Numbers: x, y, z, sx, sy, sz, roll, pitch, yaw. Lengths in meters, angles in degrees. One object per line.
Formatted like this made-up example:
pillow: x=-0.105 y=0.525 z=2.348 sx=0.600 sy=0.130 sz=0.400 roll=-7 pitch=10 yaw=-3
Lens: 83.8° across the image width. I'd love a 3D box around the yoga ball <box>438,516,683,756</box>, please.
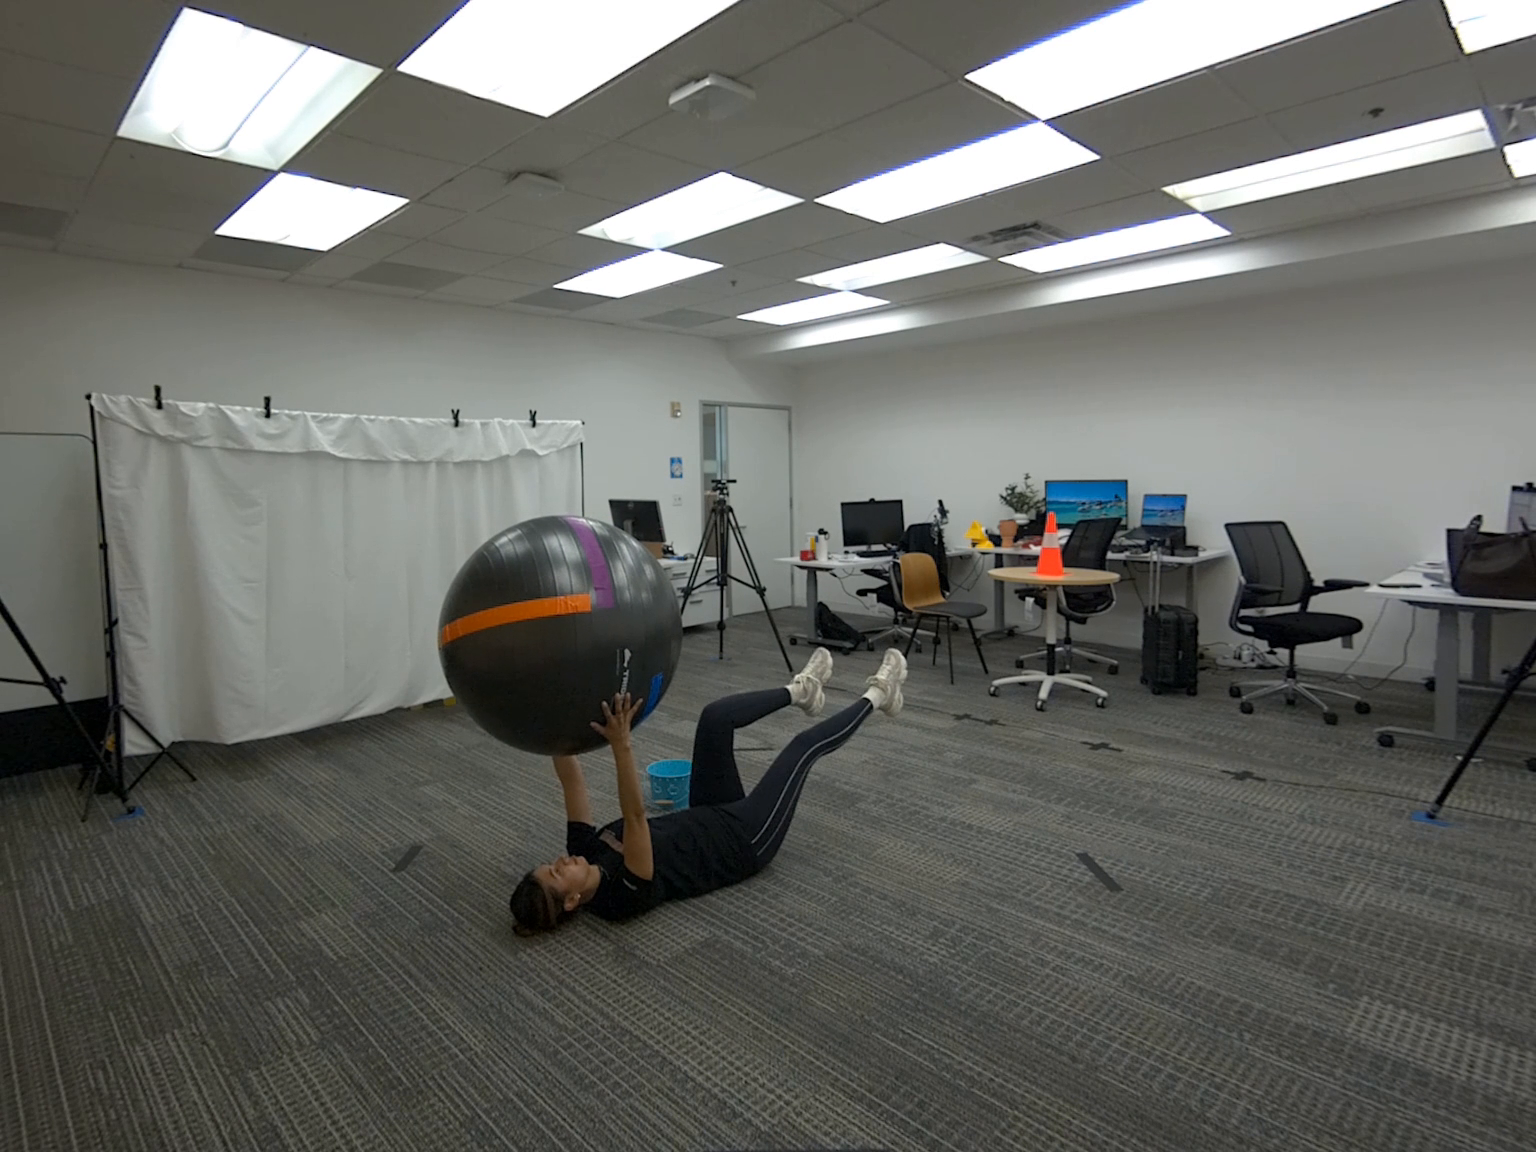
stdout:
yoga ball: x=-0.650 y=0.186 z=2.724 sx=0.757 sy=0.757 sz=0.759 roll=0 pitch=1 yaw=-2
